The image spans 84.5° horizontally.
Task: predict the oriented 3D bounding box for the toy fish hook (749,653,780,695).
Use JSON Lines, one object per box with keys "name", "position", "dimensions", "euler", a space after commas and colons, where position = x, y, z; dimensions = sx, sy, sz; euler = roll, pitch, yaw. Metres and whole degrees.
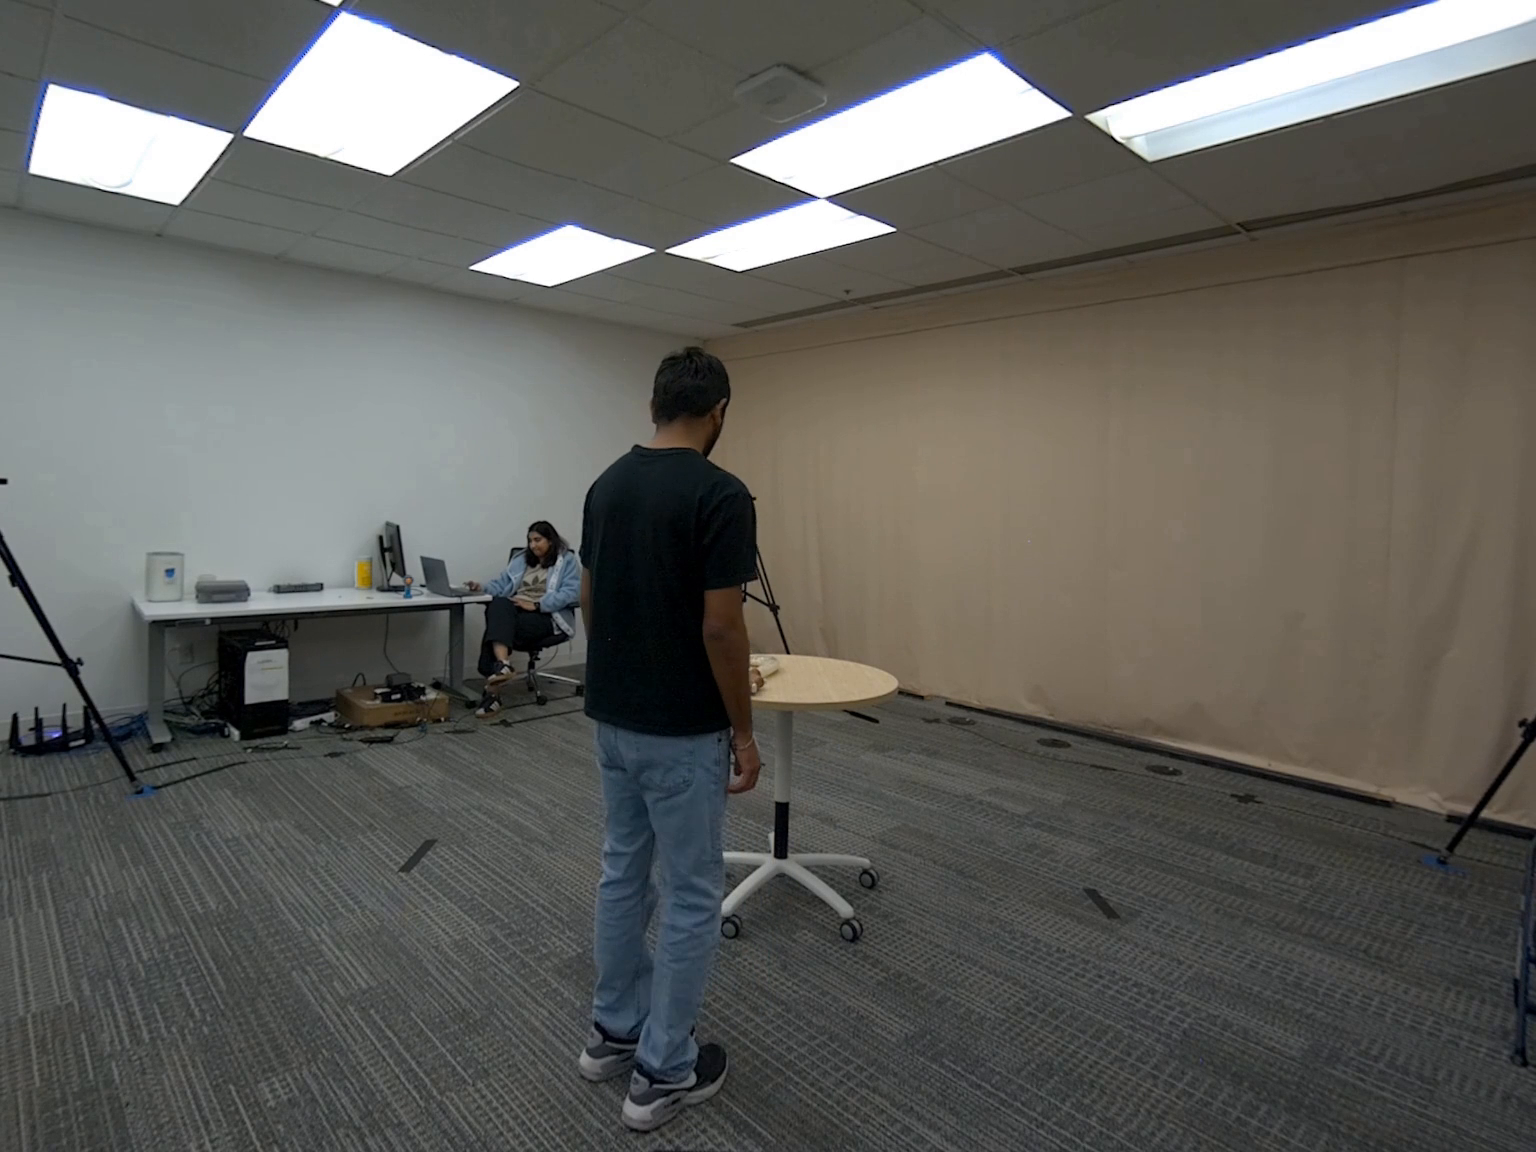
{"name": "toy fish hook", "position": [-0.085, 0.337, 2.832], "dimensions": [0.226, 0.048, 0.504], "euler": [-4, 3, 6]}
